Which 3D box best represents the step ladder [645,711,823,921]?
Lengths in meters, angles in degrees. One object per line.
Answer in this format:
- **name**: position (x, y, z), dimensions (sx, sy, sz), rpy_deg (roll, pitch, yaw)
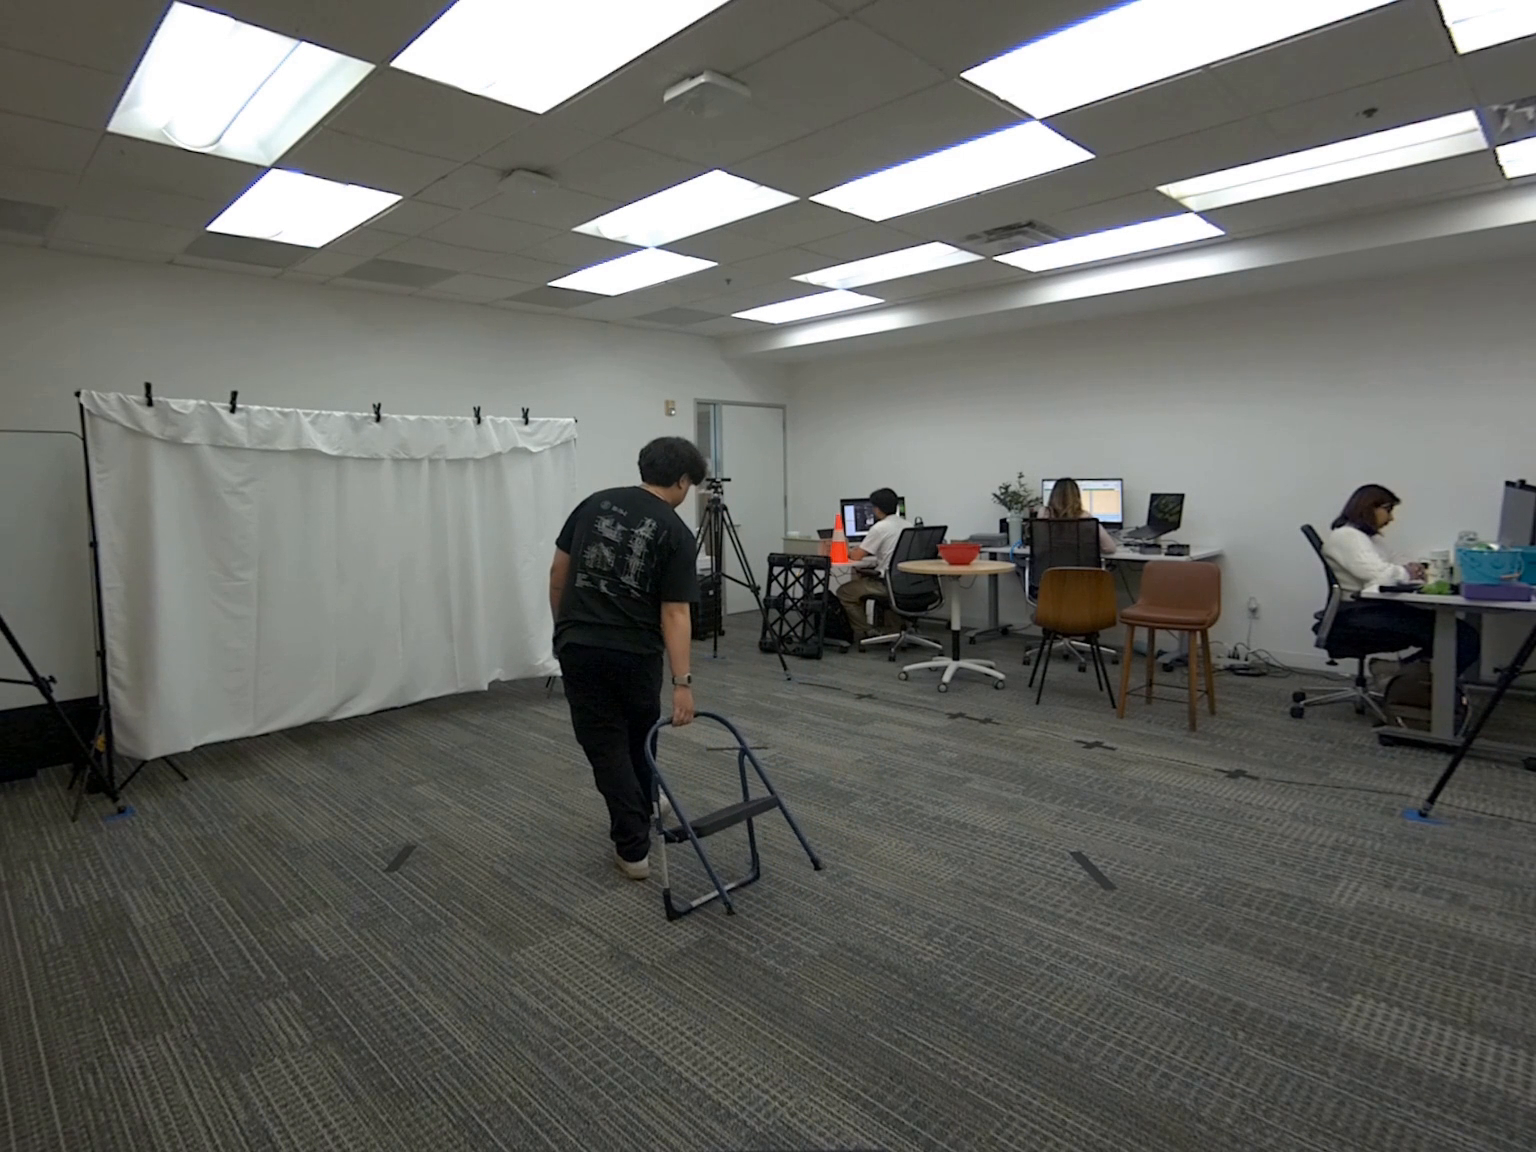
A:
- **step ladder**: position (-0.158, 0.735, 2.808), dimensions (0.419, 0.616, 0.353), rpy_deg (-5, -19, -45)
